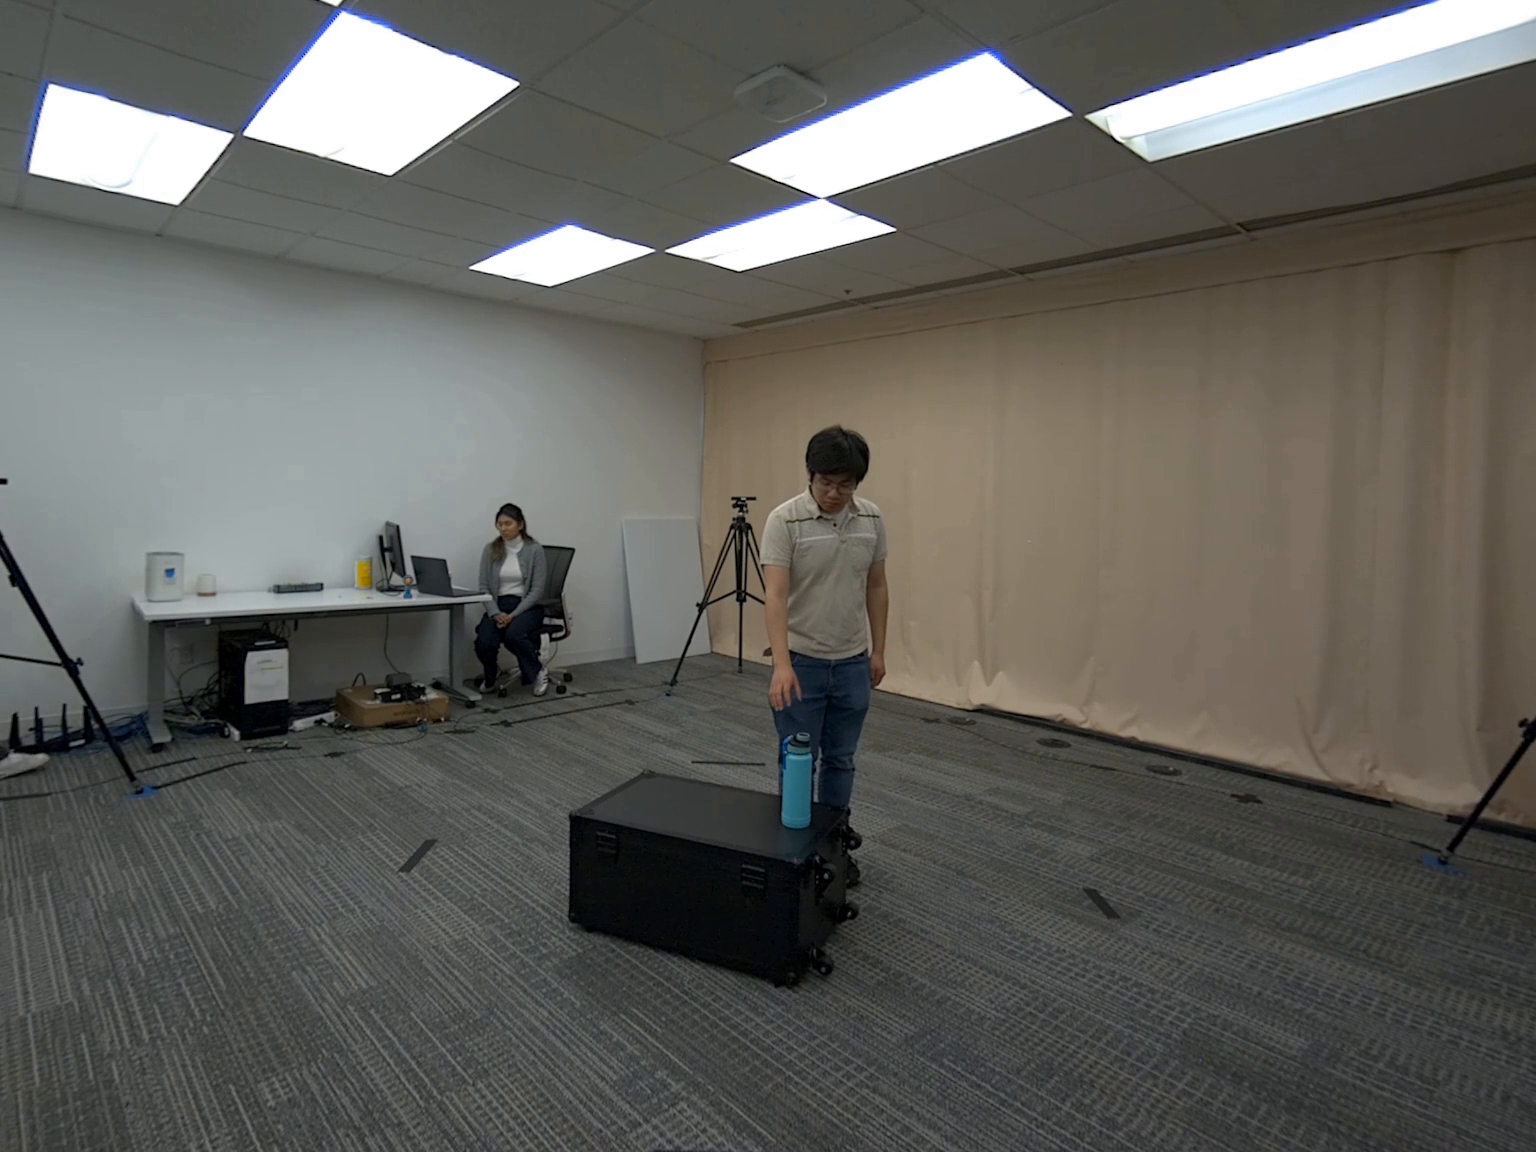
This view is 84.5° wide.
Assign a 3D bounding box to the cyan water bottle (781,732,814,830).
[{"bbox_3d":[0.081,0.640,2.639,0.092,0.283,0.092,0,3,-1],"label":"cyan water bottle"}]
